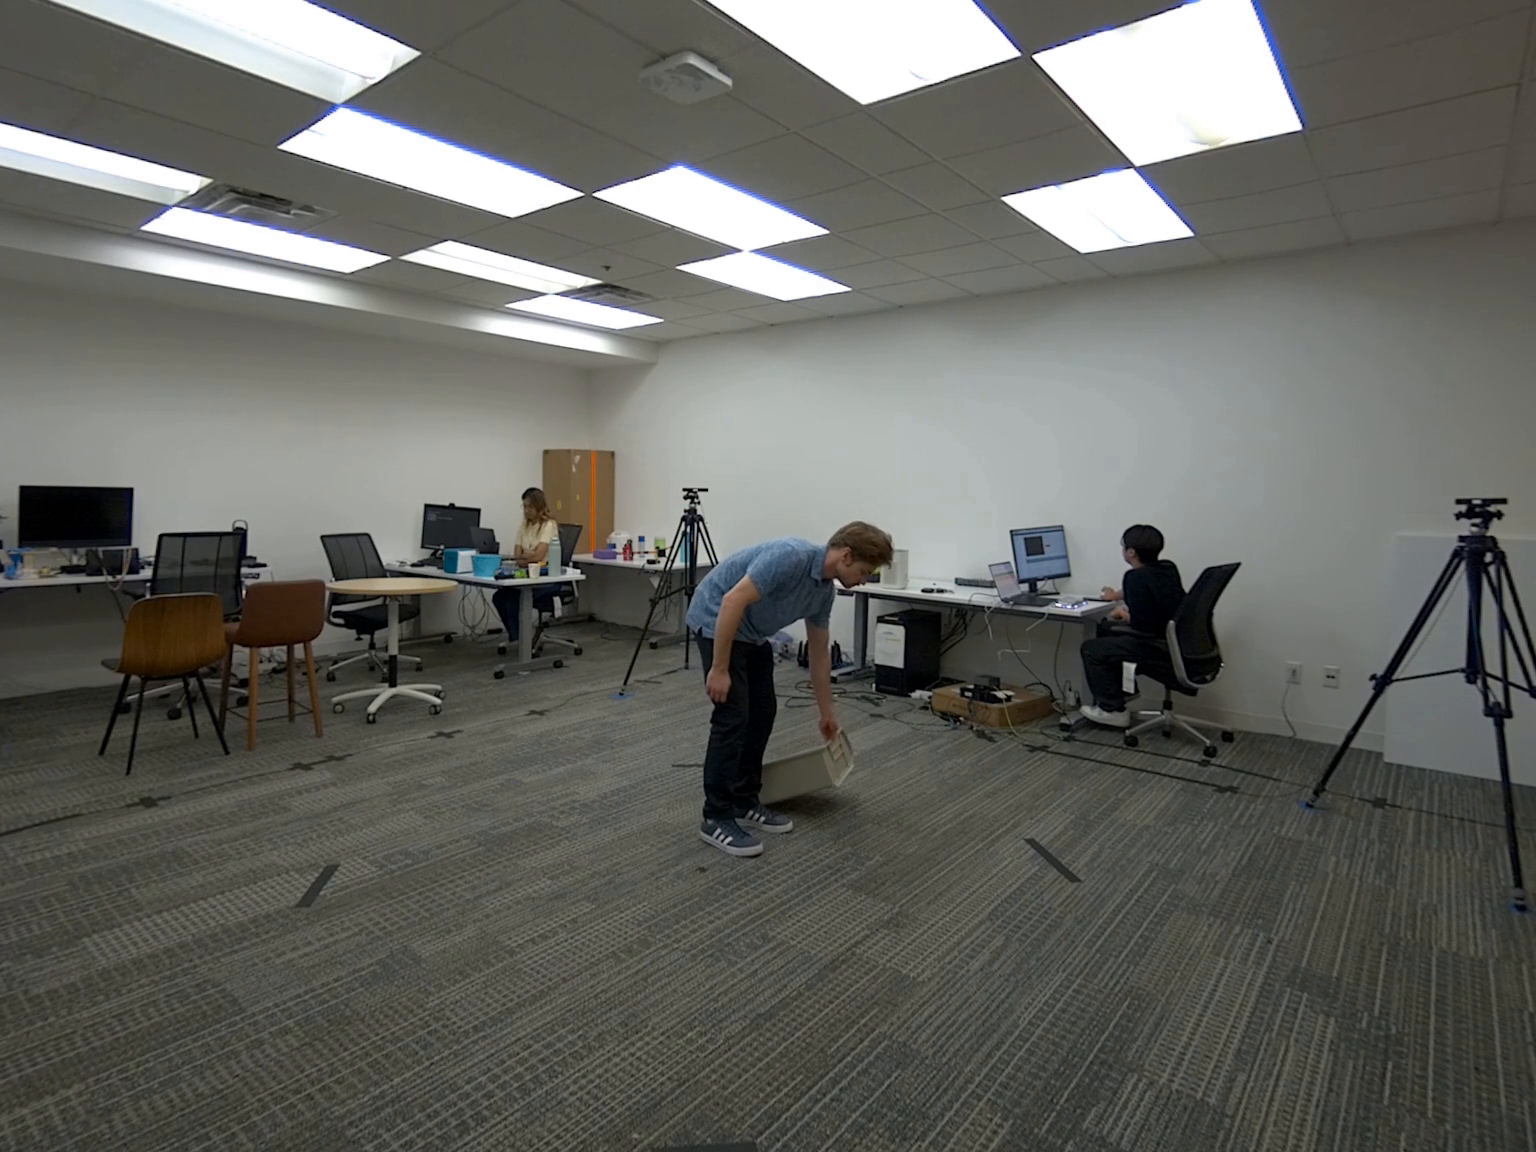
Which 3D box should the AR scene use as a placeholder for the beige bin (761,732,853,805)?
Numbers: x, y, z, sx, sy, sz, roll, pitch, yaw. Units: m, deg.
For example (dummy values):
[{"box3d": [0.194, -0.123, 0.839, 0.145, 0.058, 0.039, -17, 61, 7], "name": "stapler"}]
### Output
[{"box3d": [0.127, 0.844, 3.796, 0.428, 0.190, 0.371, -19, -1, 20], "name": "beige bin"}]
